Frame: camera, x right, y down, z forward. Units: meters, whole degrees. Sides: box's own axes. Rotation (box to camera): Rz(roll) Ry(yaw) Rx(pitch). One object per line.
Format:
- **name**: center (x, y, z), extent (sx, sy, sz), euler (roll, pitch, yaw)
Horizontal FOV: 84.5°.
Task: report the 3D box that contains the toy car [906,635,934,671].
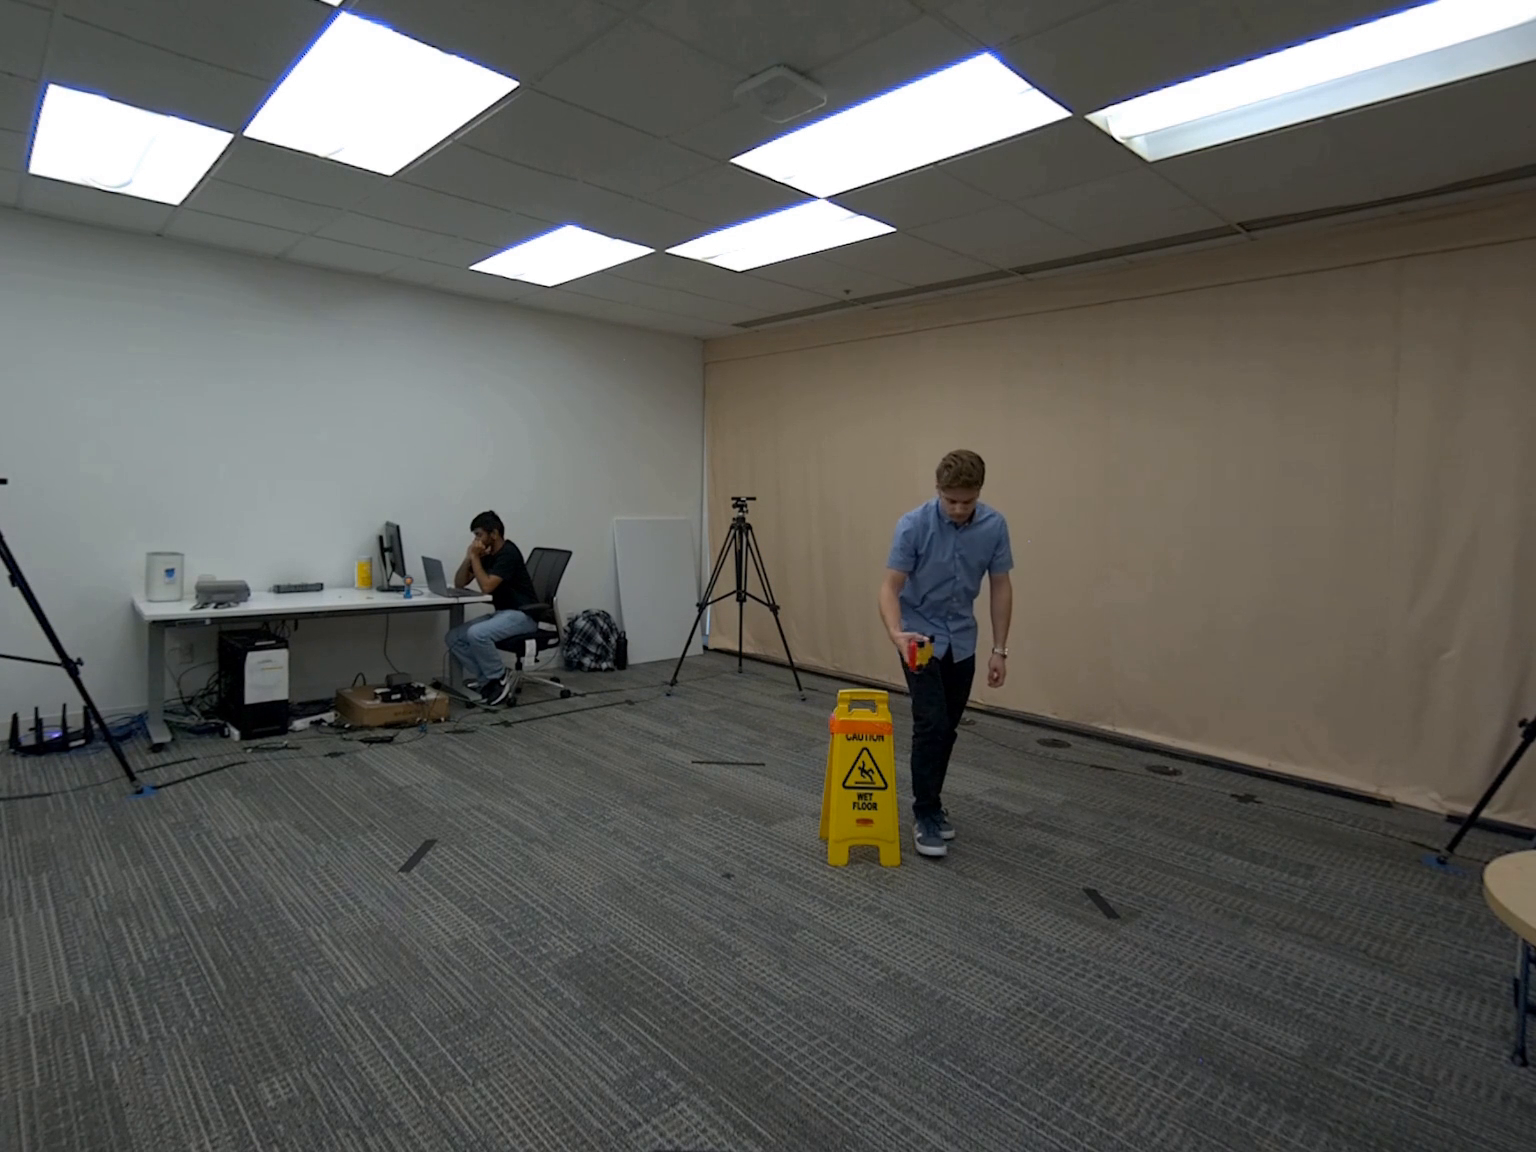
- **toy car**: center (0.560, 0.284, 3.135), extent (0.084, 0.130, 0.253), euler (4, 6, 12)
